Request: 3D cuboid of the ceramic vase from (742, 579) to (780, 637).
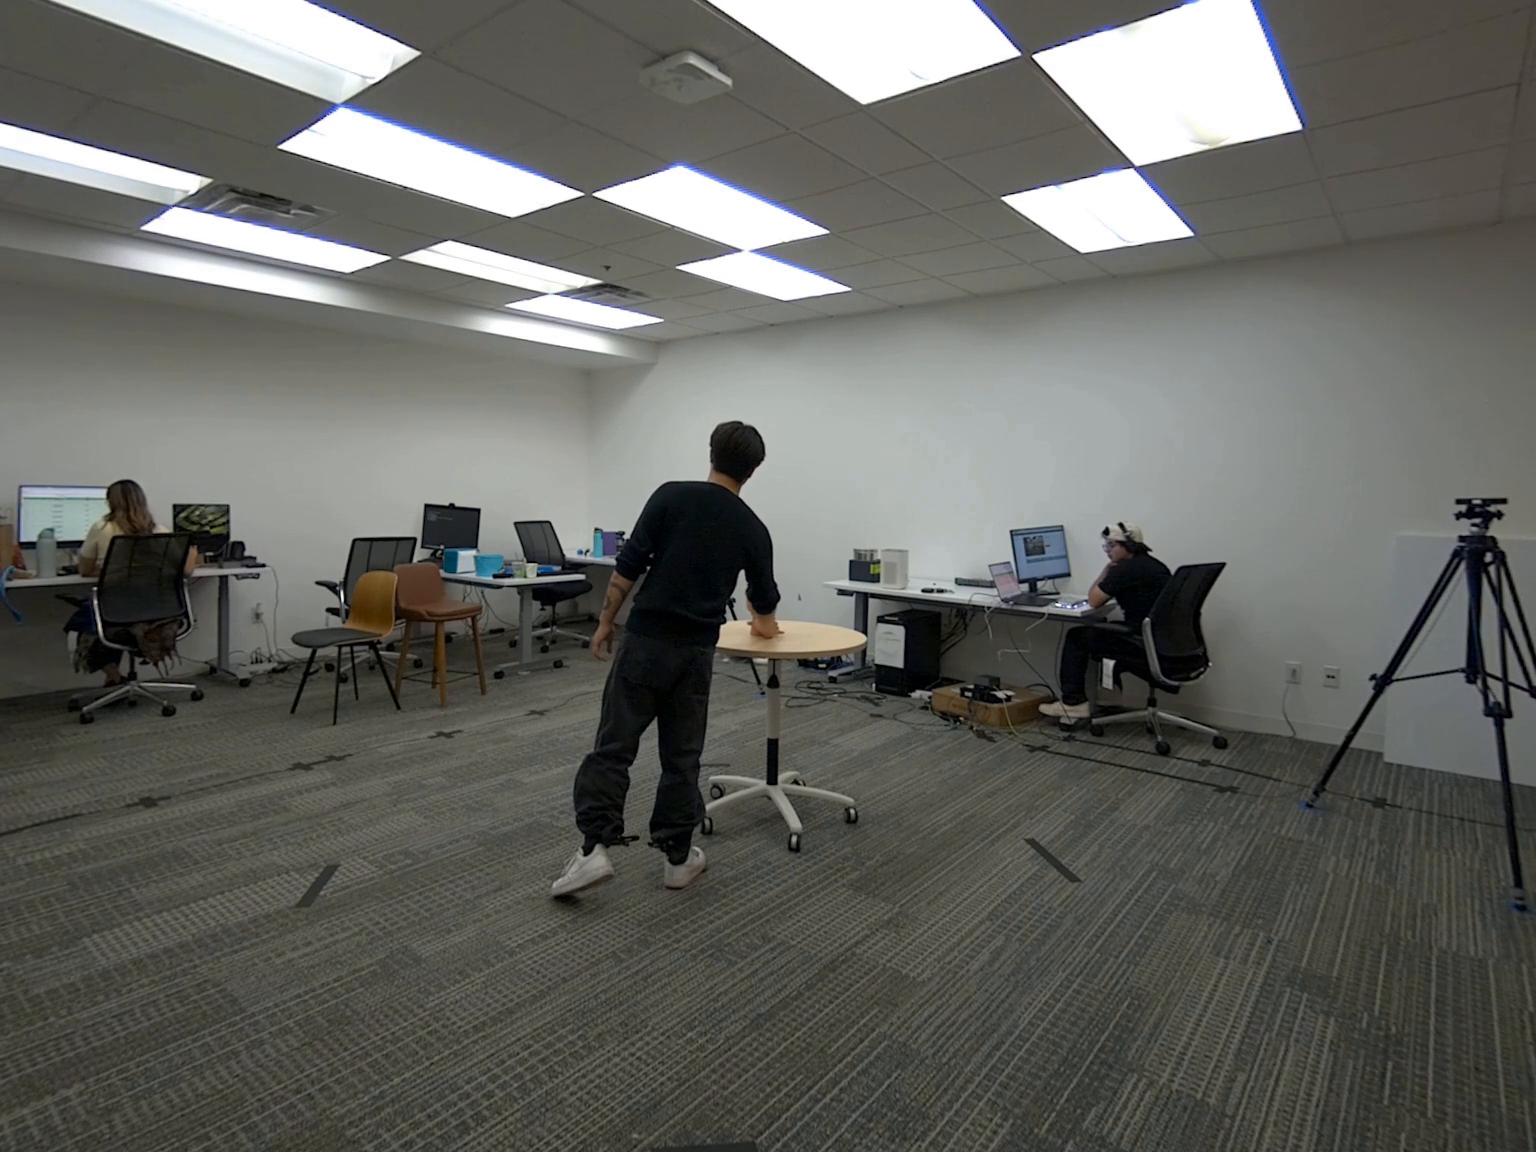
[{"bbox_3d":[-0.034,0.131,3.592,0.134,0.219,0.160,1,4,-5],"label":"ceramic vase"}]
